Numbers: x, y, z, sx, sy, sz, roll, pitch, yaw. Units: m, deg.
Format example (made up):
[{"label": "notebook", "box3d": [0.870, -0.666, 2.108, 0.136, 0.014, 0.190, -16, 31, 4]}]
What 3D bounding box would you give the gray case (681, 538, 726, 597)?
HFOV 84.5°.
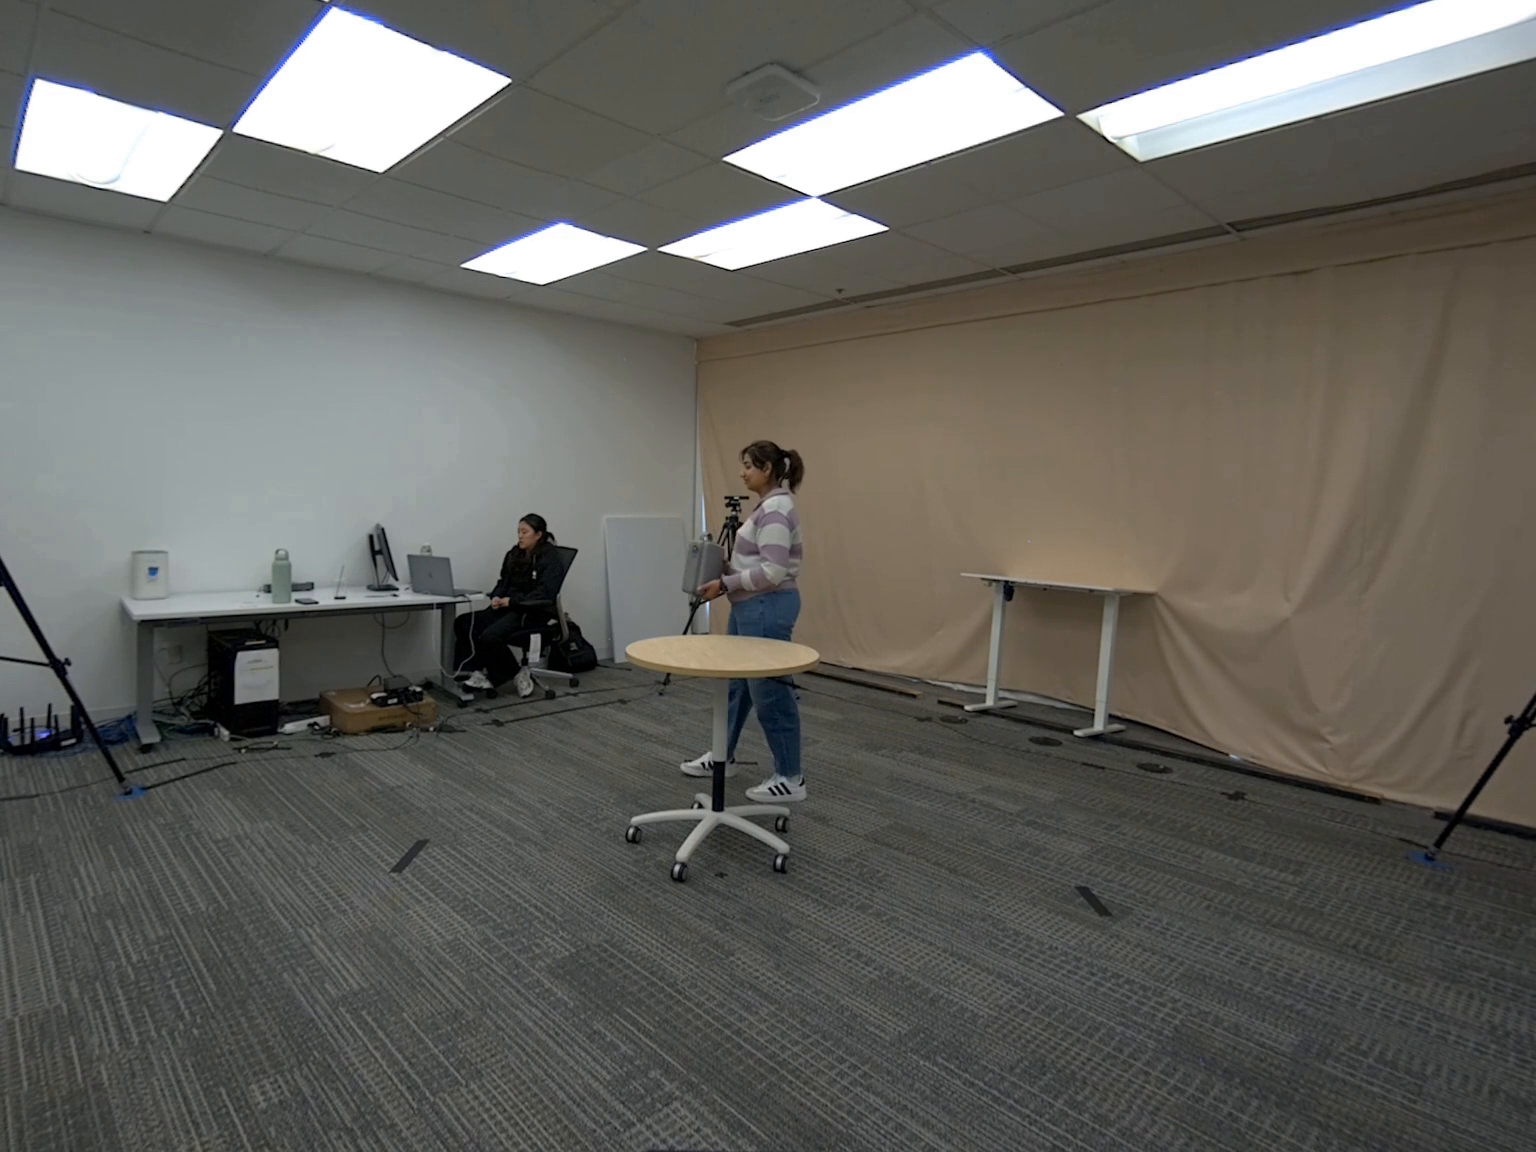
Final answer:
[{"label": "gray case", "box3d": [-0.304, -0.041, 3.911, 0.106, 0.261, 0.252, 6, -4, 17]}]
